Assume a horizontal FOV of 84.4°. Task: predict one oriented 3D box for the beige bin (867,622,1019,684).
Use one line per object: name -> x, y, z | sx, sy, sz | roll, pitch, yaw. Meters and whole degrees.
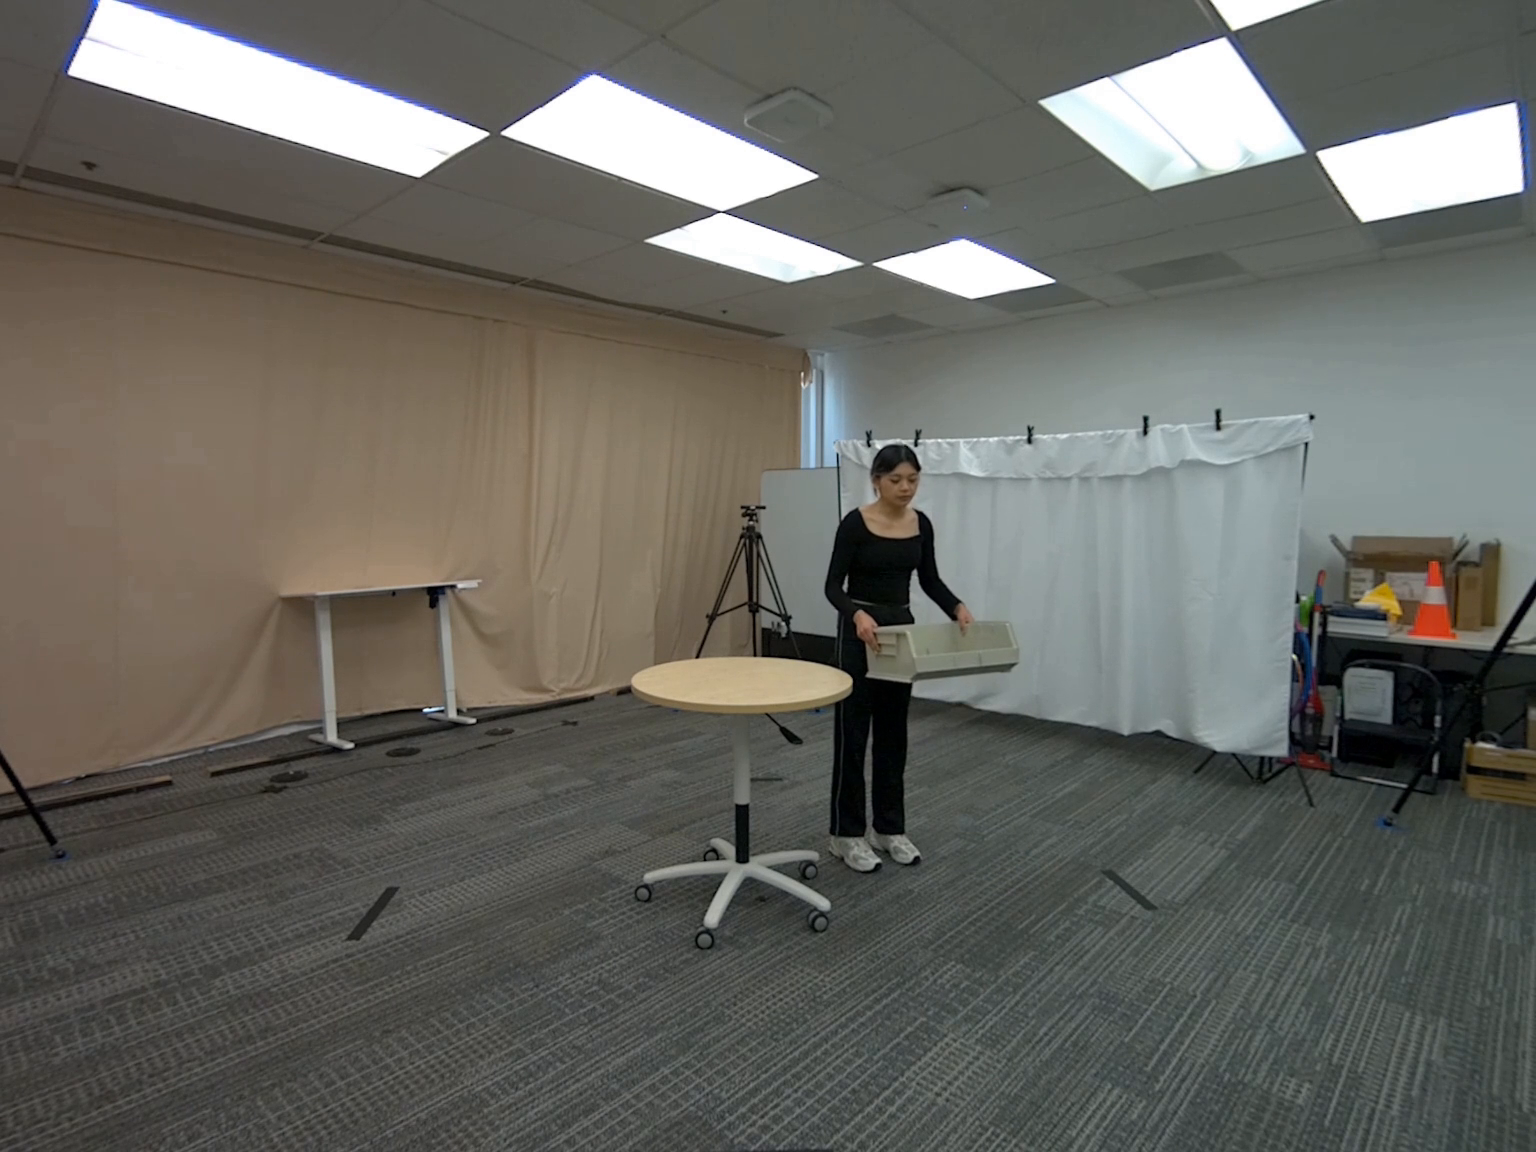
beige bin -> 0.614, 0.270, 3.031 | 0.414, 0.189, 0.384 | -4, -2, -20
